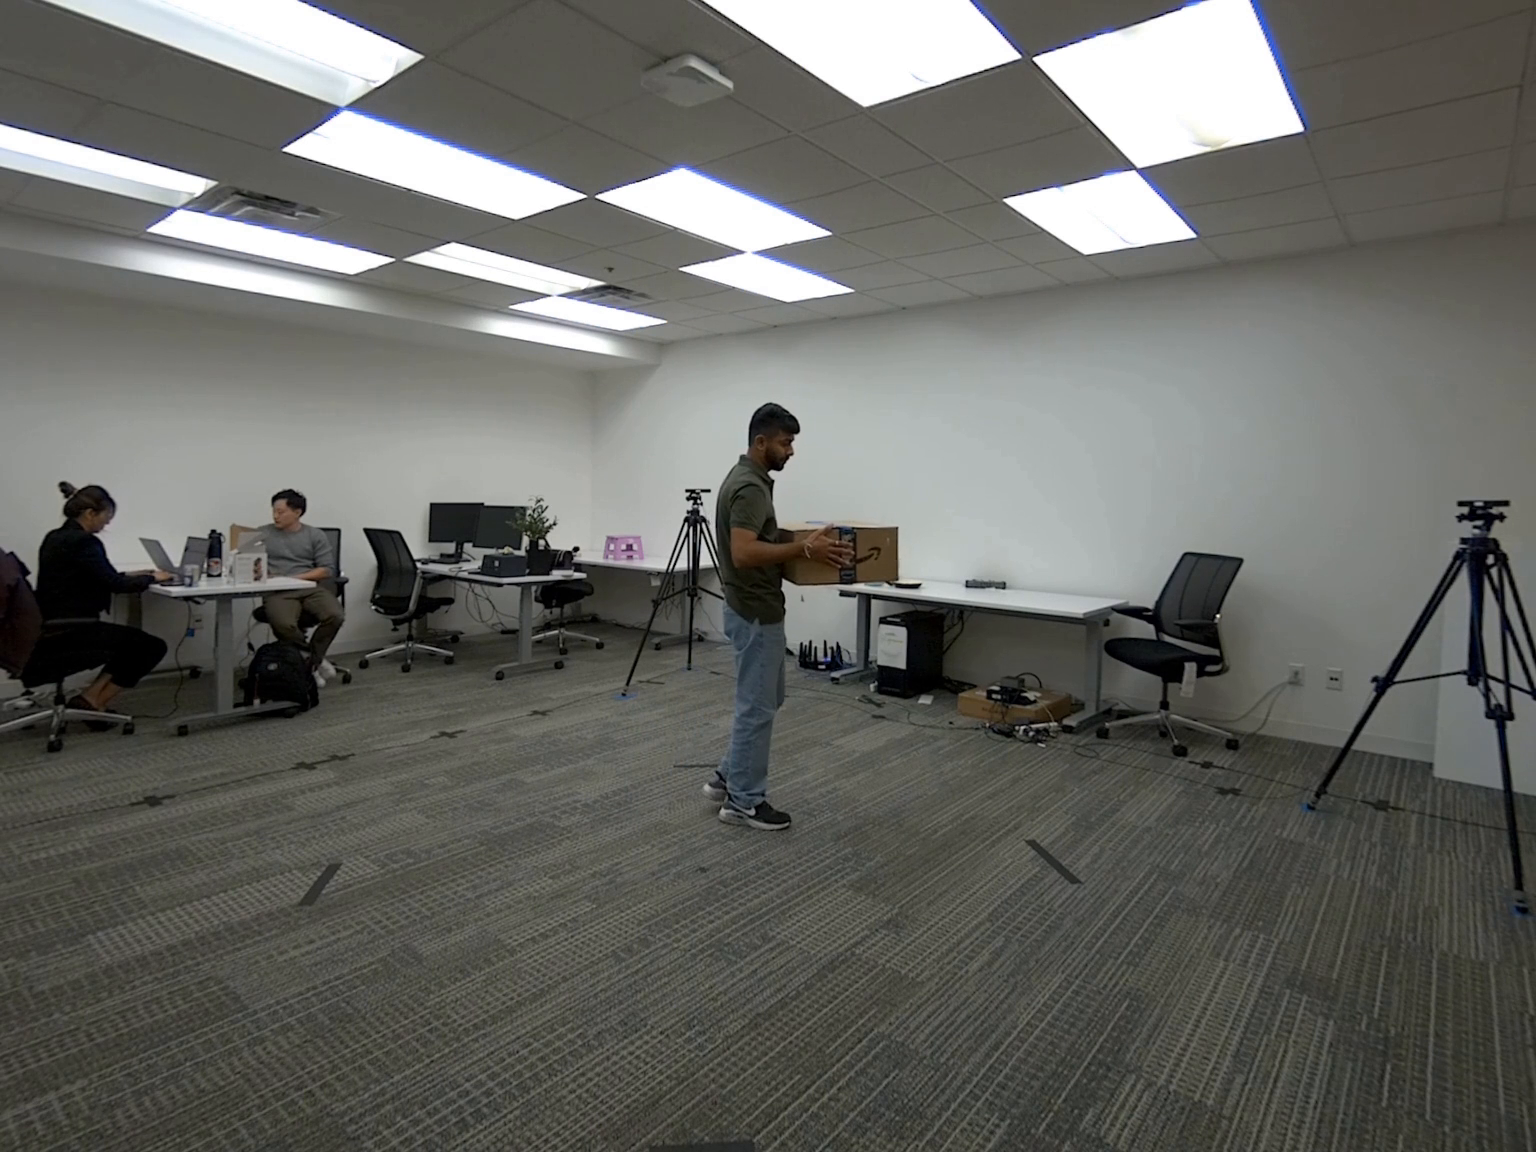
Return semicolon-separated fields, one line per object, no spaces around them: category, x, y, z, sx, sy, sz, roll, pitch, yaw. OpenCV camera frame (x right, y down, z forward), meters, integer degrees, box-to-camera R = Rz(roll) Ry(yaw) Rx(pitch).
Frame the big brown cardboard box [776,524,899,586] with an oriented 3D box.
big brown cardboard box;0.249;-0.108;3.578;0.414;0.232;0.597;-3;5;-10
